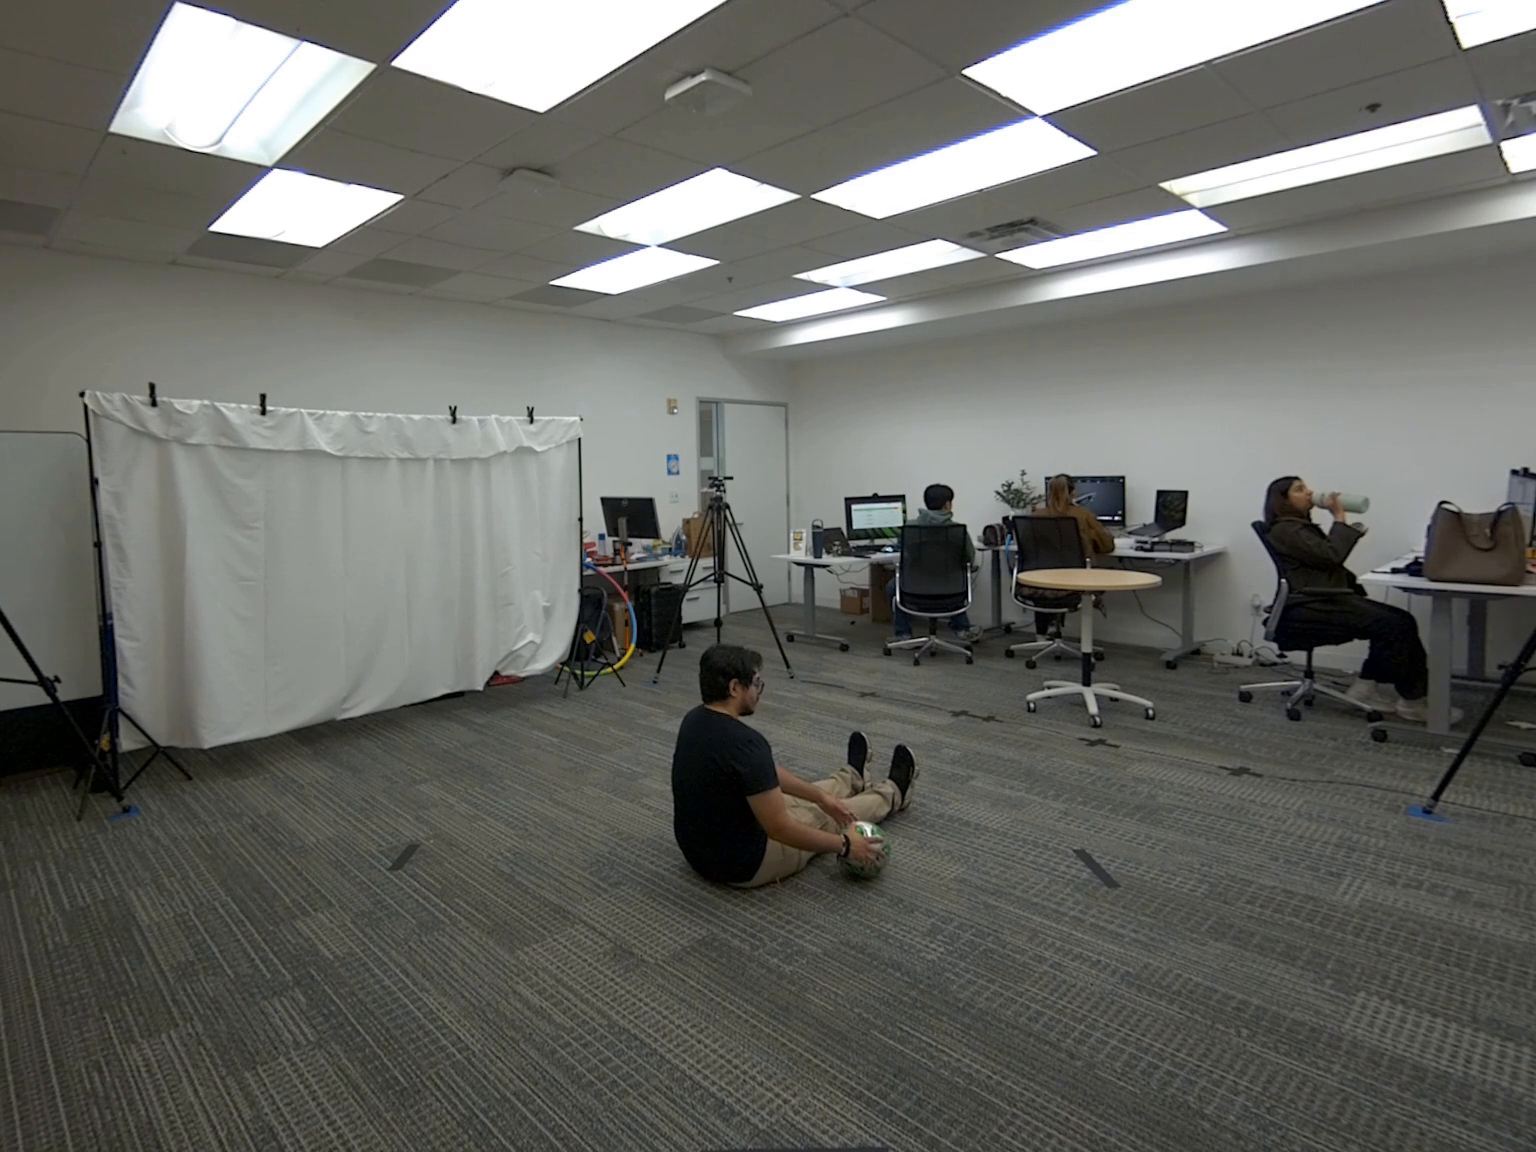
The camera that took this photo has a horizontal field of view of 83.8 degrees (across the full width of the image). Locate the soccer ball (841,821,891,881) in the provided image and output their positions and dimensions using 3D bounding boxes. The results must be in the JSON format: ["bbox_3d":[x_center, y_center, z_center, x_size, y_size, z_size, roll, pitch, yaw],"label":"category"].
[{"bbox_3d":[0.326,0.939,2.978,0.187,0.187,0.188,-1,4,-2],"label":"soccer ball"}]
